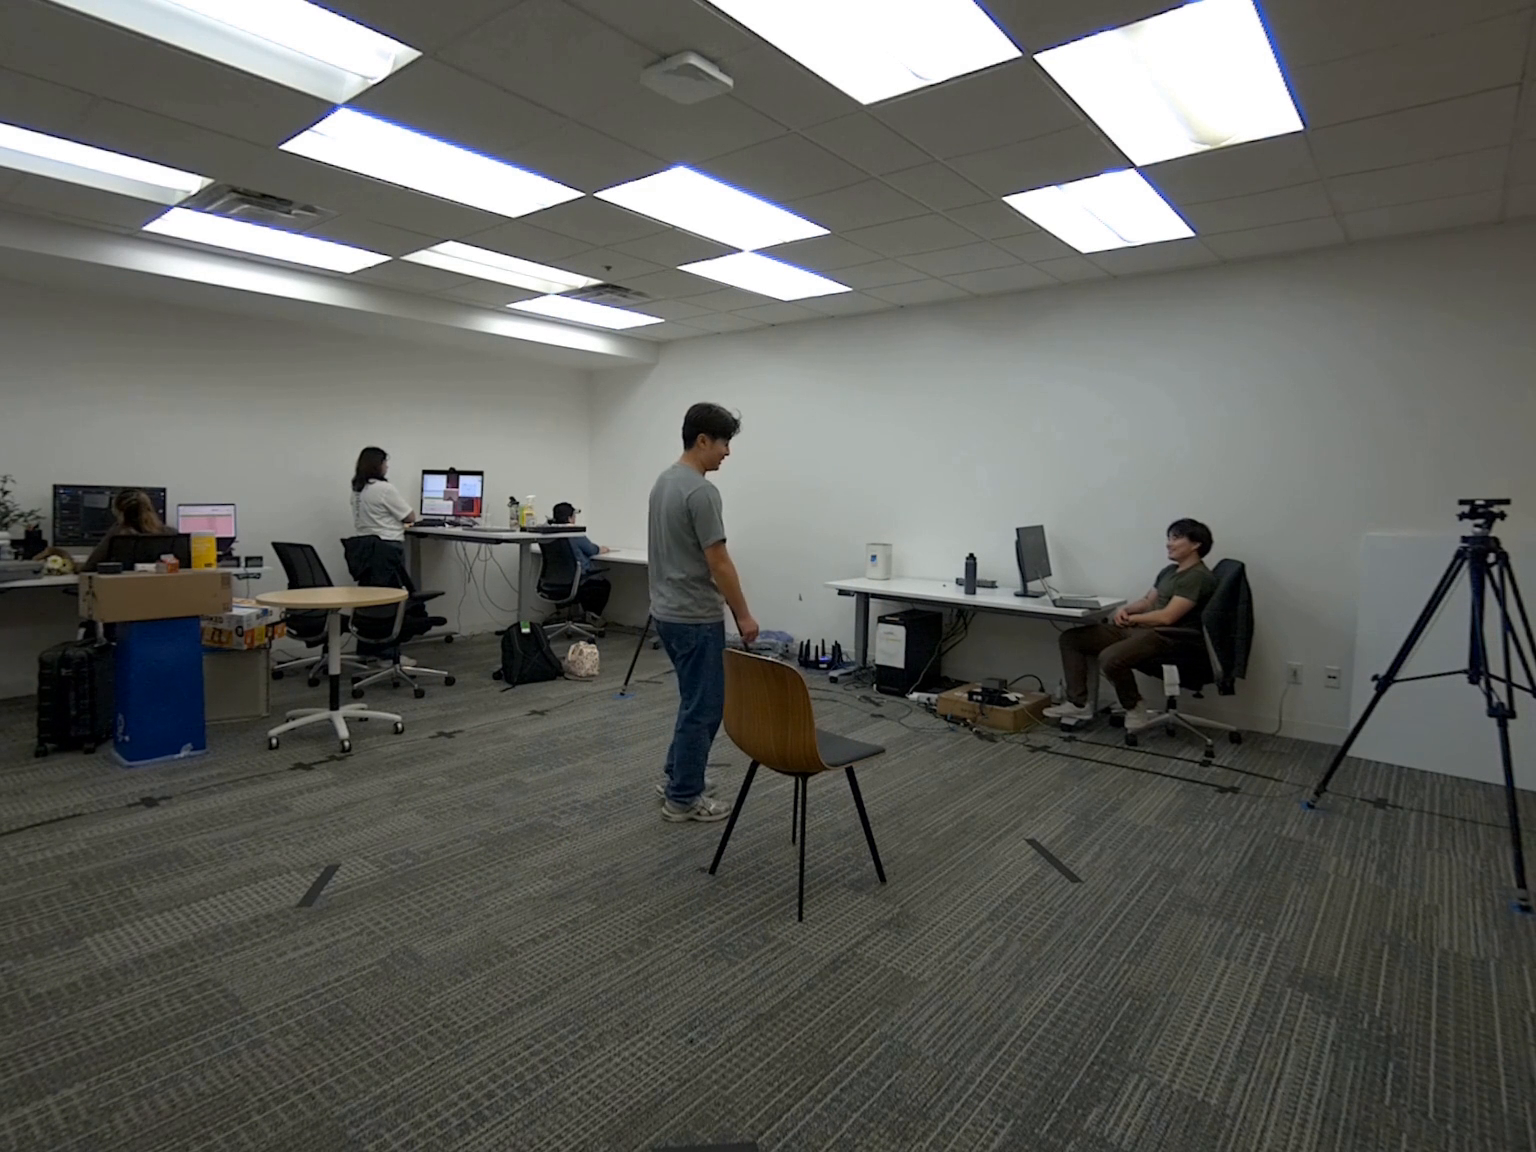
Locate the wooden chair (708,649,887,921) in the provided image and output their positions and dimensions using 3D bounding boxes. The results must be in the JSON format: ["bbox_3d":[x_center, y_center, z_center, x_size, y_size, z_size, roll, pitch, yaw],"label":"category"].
[{"bbox_3d":[0.110,0.655,3.033,0.509,0.872,0.494,-8,8,-43],"label":"wooden chair"}]
